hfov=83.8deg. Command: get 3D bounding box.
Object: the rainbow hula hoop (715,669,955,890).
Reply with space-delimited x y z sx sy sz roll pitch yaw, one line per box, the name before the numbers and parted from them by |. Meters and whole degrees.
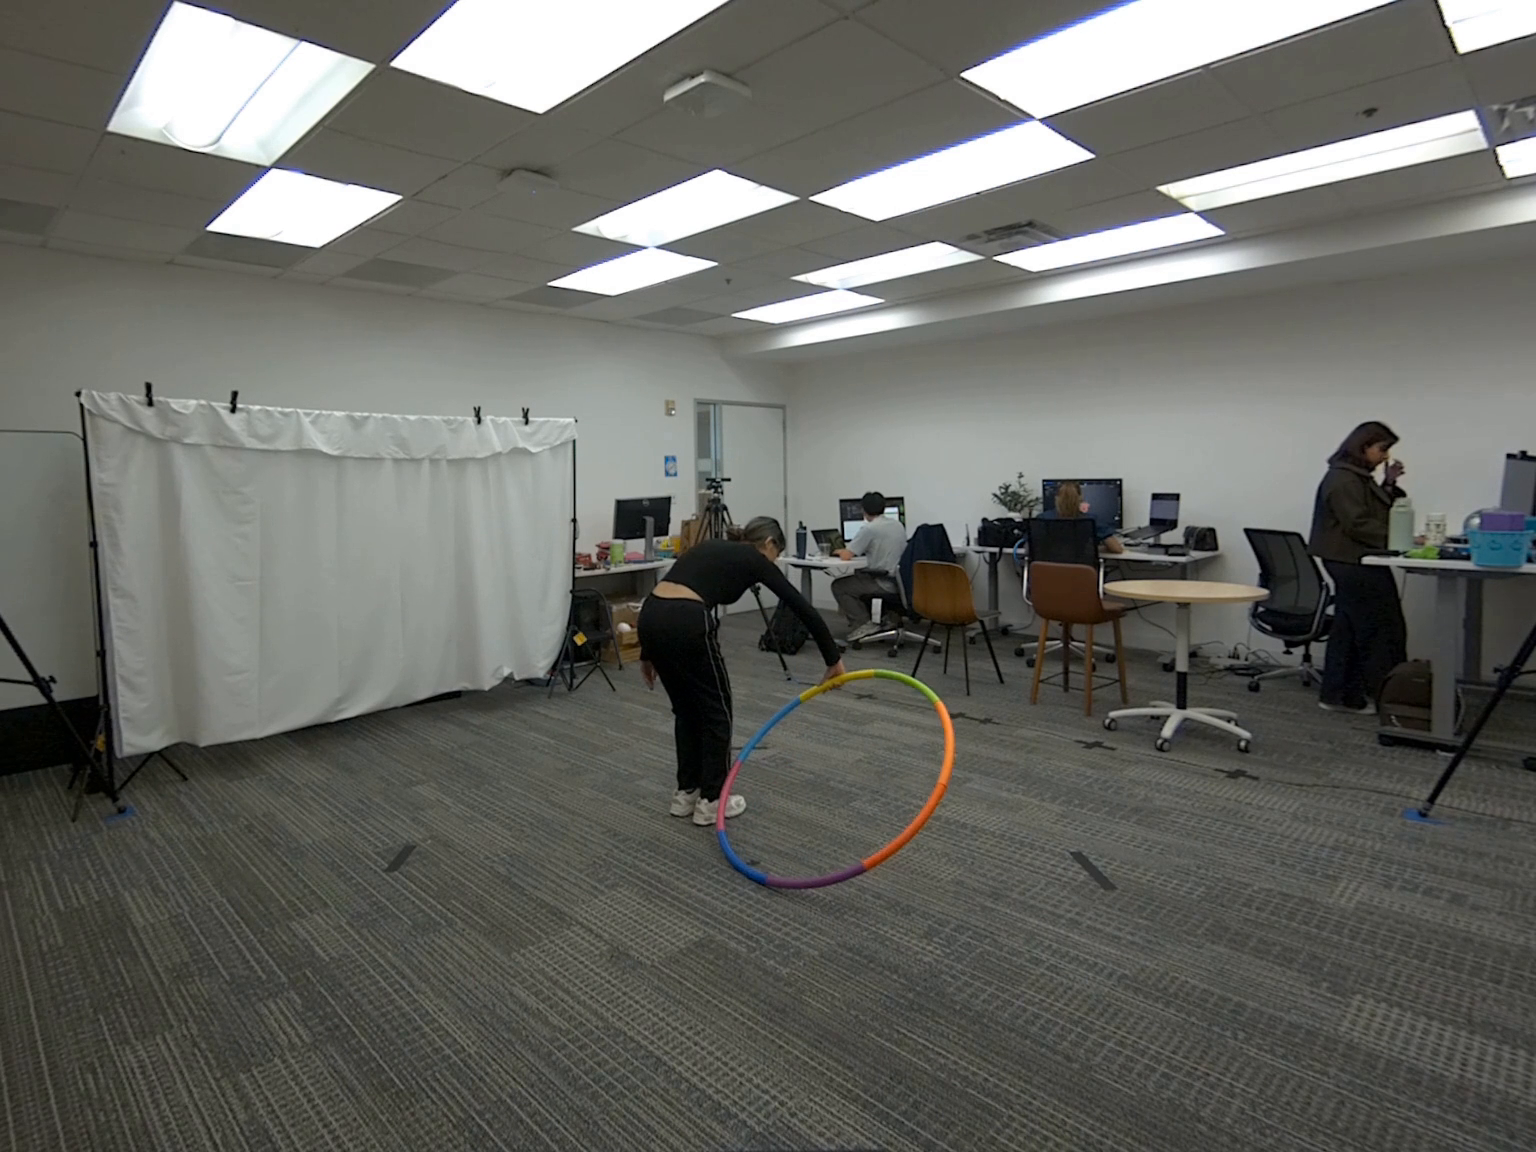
rainbow hula hoop | 0.225 0.719 3.175 0.984 0.034 1.002 -29 27 13
